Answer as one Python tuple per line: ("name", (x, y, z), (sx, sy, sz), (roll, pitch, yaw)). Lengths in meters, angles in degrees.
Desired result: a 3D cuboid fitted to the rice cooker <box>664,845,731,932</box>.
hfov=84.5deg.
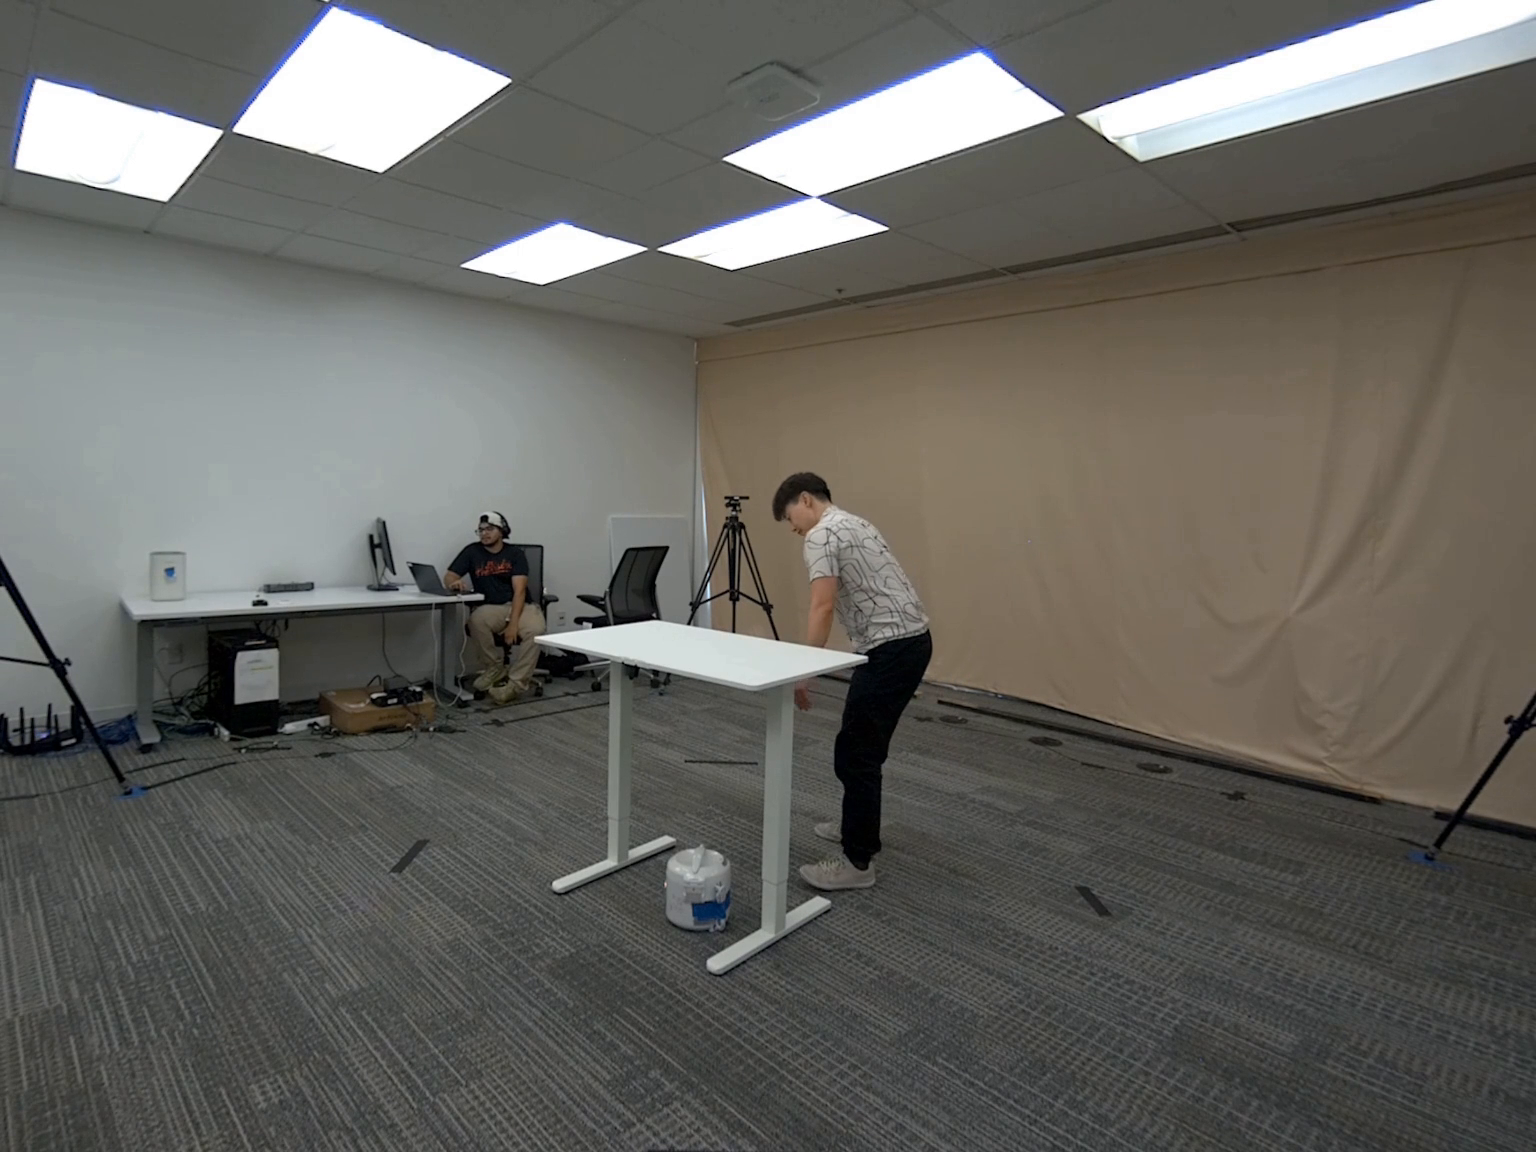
("rice cooker", (-0.237, 1.017, 2.764), (0.218, 0.232, 0.220), (2, 4, 5))
